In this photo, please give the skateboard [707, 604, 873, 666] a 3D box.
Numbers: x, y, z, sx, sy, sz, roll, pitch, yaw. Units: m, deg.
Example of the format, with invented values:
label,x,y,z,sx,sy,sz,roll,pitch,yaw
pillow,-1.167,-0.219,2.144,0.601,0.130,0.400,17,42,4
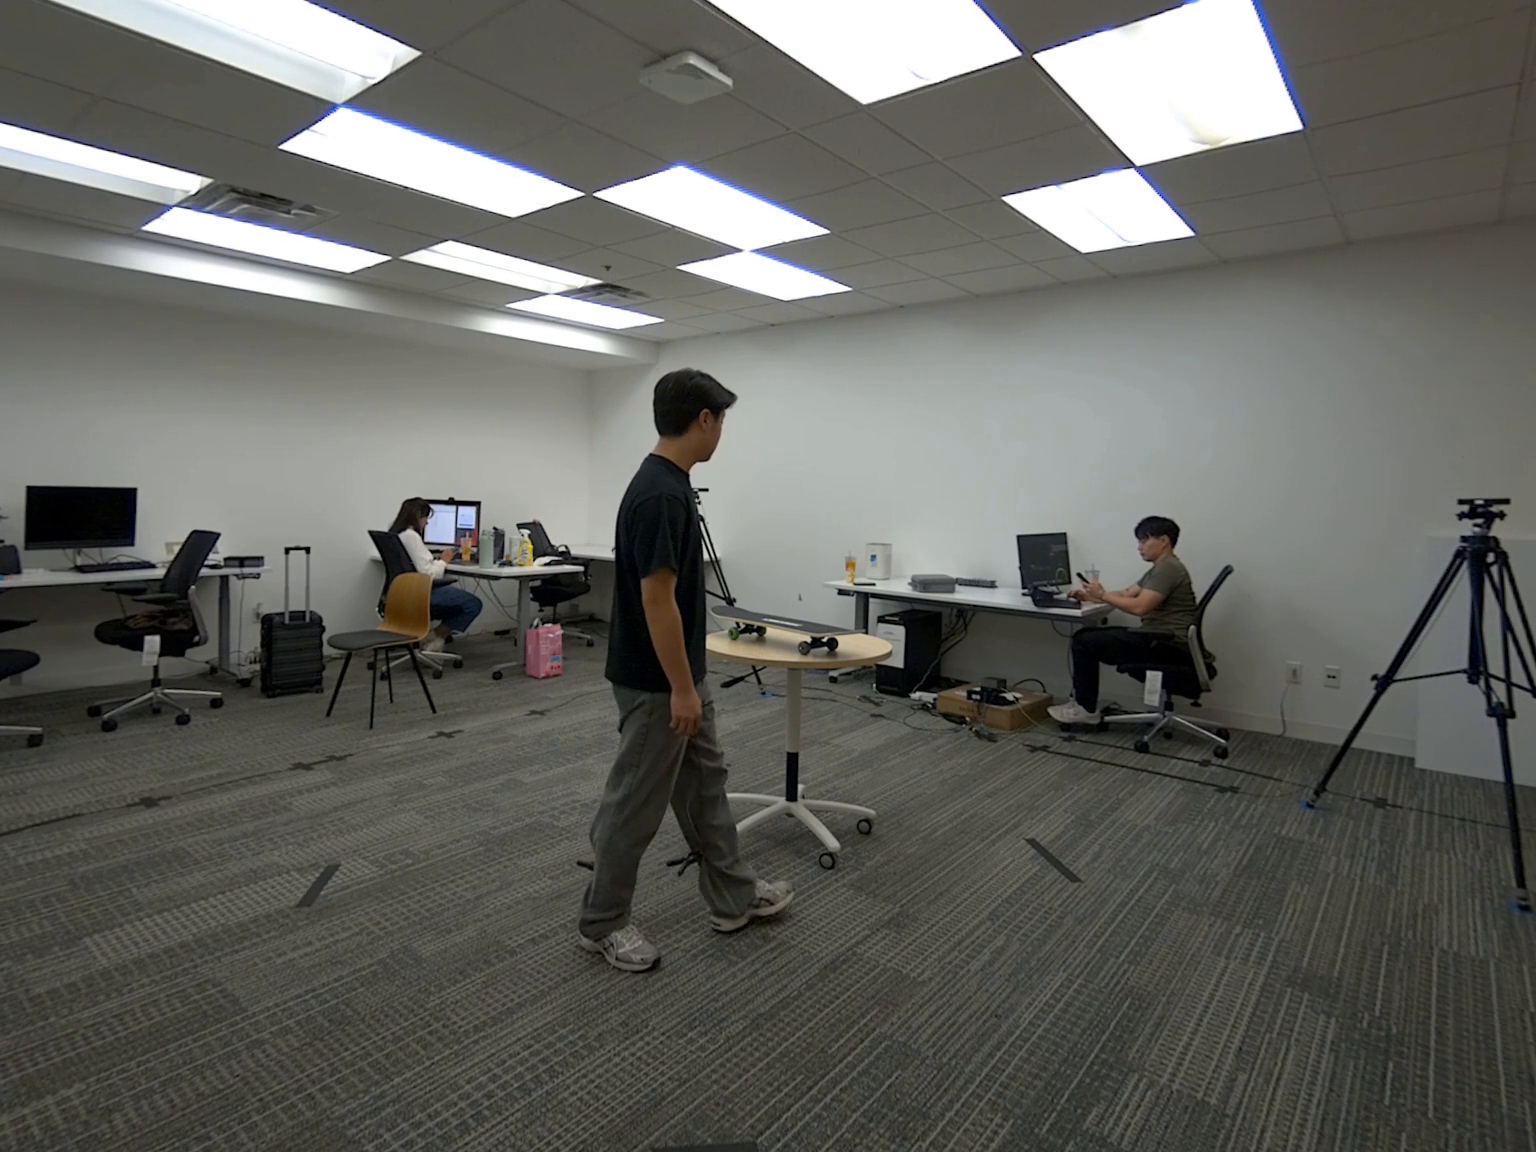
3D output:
label,x,y,z,sx,sy,sz,roll,pitch,yaw
skateboard,0.041,0.219,3.340,0.188,0.110,0.813,-3,7,-42
